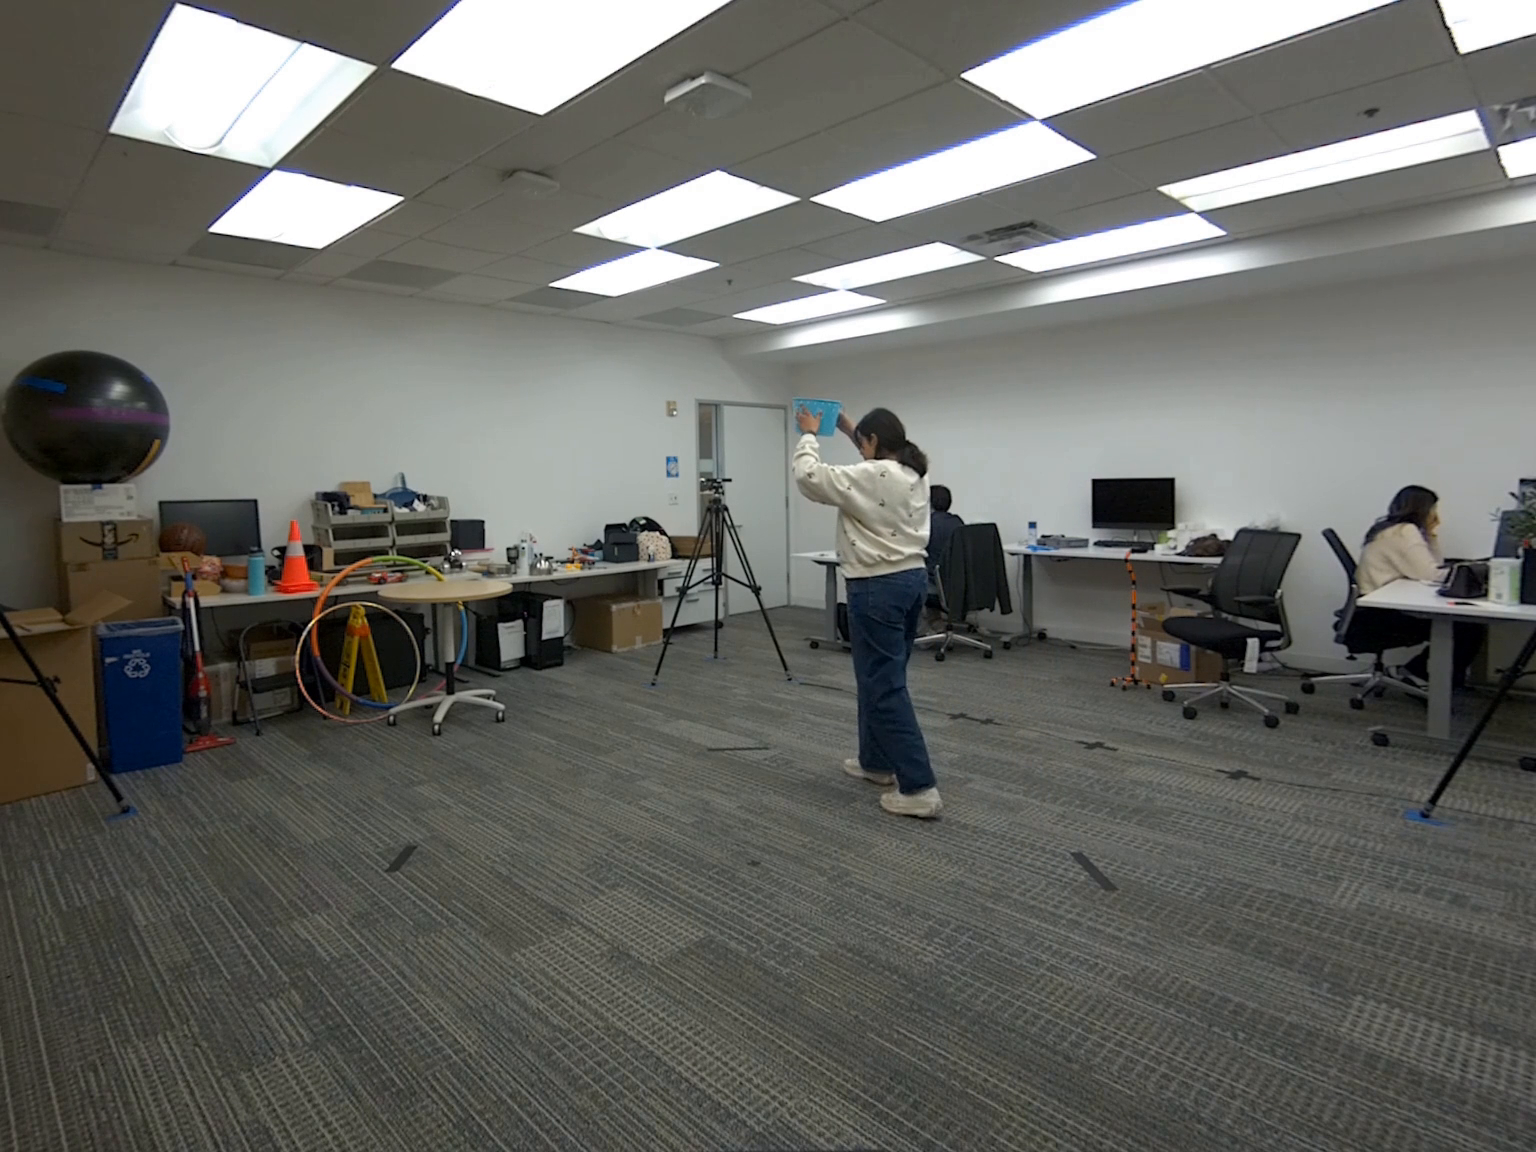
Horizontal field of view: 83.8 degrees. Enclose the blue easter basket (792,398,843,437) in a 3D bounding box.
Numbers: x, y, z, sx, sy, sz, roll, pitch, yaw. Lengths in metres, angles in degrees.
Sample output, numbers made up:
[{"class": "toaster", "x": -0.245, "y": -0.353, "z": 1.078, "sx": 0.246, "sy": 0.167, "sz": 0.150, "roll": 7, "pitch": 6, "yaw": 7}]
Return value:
[{"class": "blue easter basket", "x": 0.229, "y": -0.723, "z": 3.887, "sx": 0.243, "sy": 0.155, "sz": 0.246, "roll": 5, "pitch": 9, "yaw": -2}]
